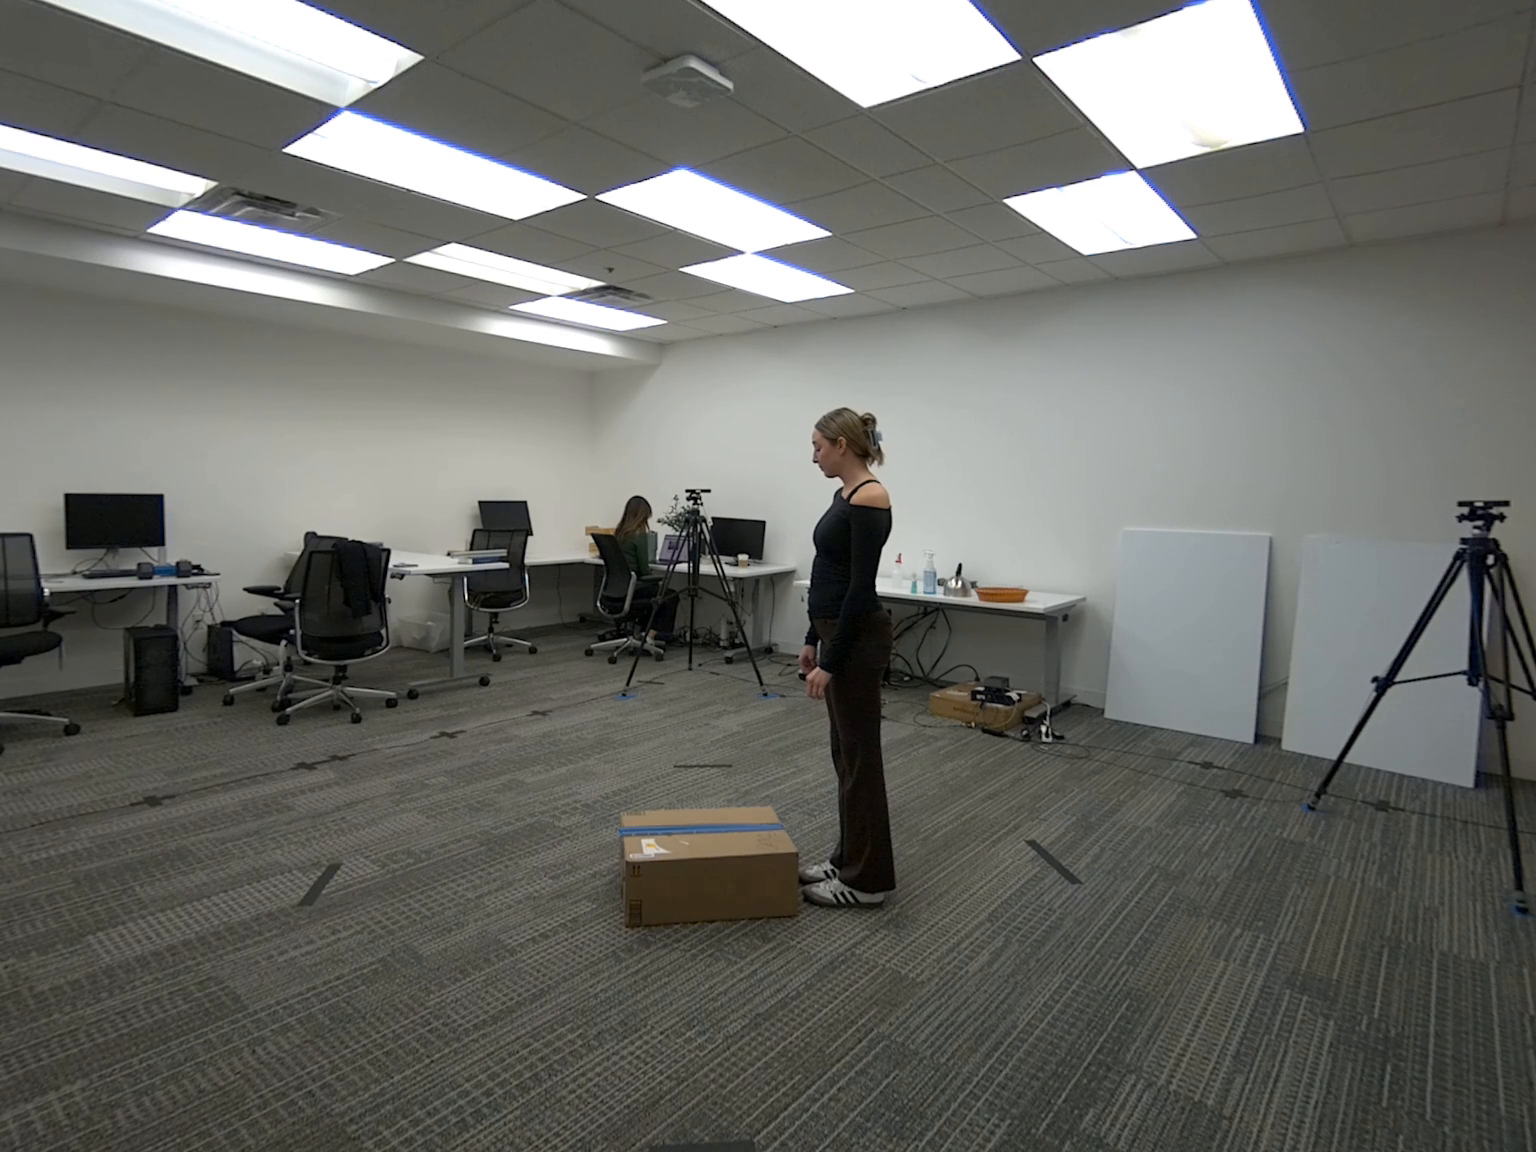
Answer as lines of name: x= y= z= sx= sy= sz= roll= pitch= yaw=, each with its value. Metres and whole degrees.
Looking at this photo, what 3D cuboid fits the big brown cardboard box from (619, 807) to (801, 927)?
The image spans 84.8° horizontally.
big brown cardboard box: x=-0.233 y=0.978 z=2.933 sx=0.582 sy=0.232 sz=0.424 roll=1 pitch=5 yaw=-11
